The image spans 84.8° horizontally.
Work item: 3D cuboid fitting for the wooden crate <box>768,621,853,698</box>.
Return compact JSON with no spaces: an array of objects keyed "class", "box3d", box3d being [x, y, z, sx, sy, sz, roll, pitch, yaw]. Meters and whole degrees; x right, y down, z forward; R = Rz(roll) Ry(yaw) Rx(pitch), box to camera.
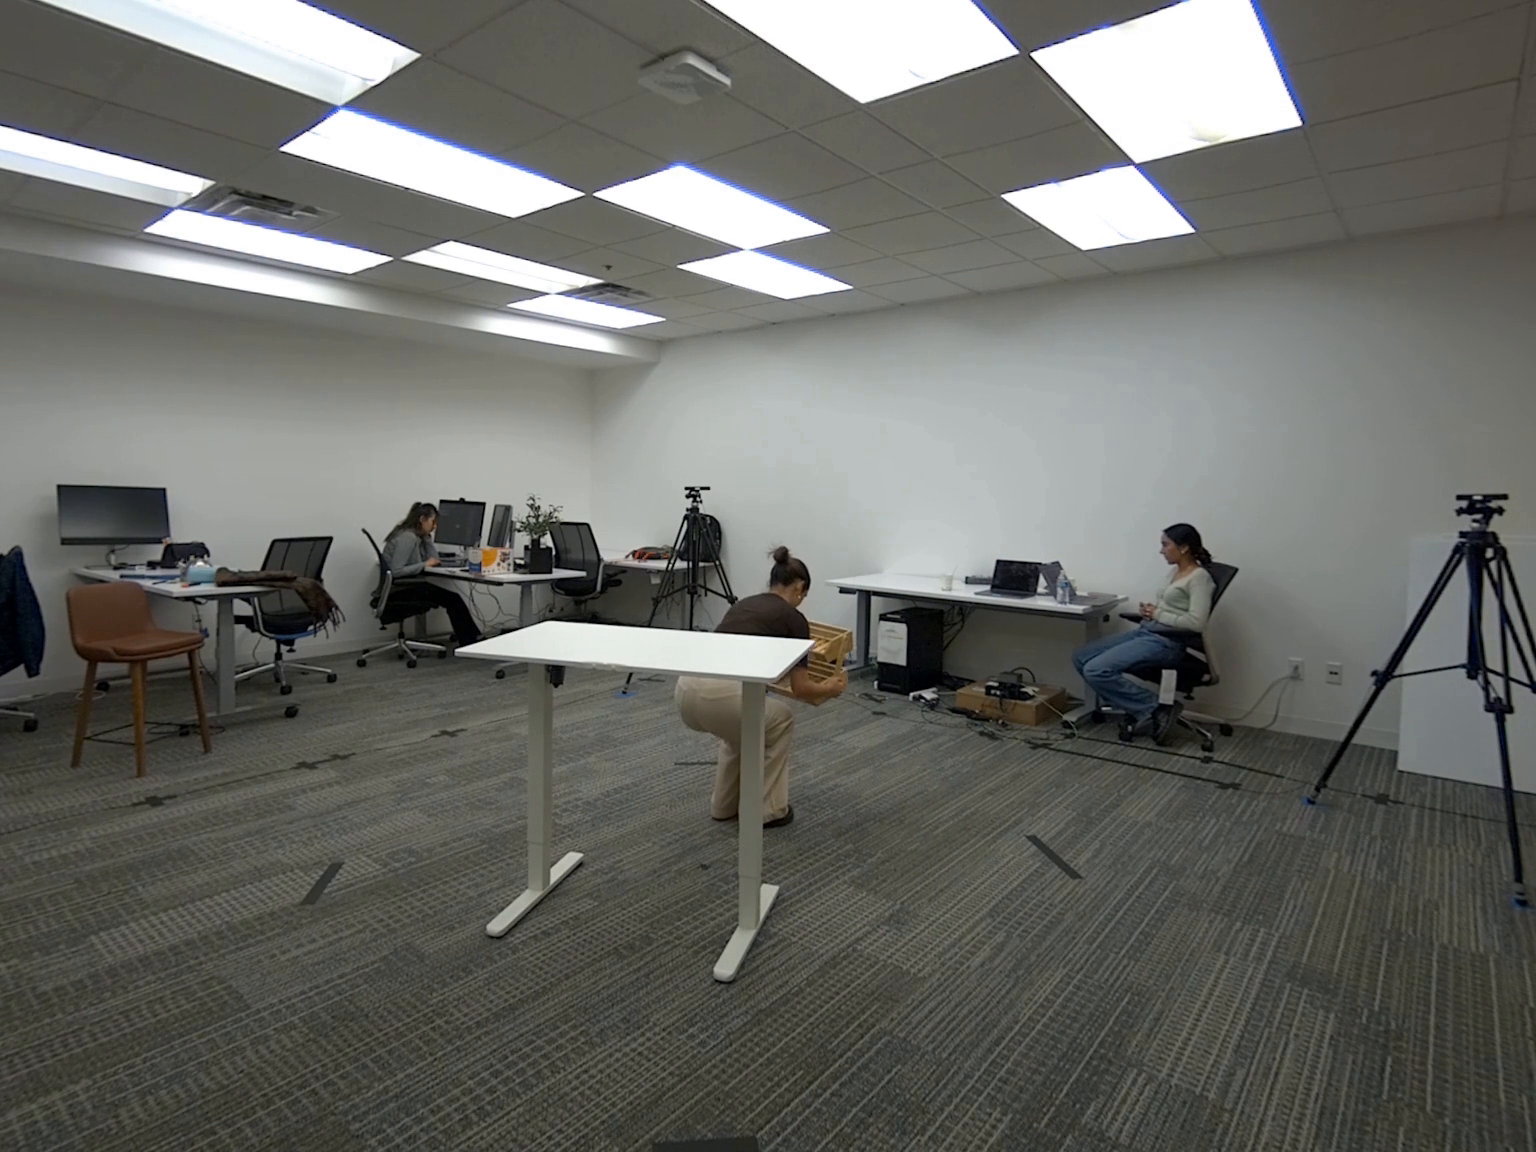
[{"class":"wooden crate","box3d":[0.167,0.375,3.847,0.336,0.269,0.296,10,20,41]}]
